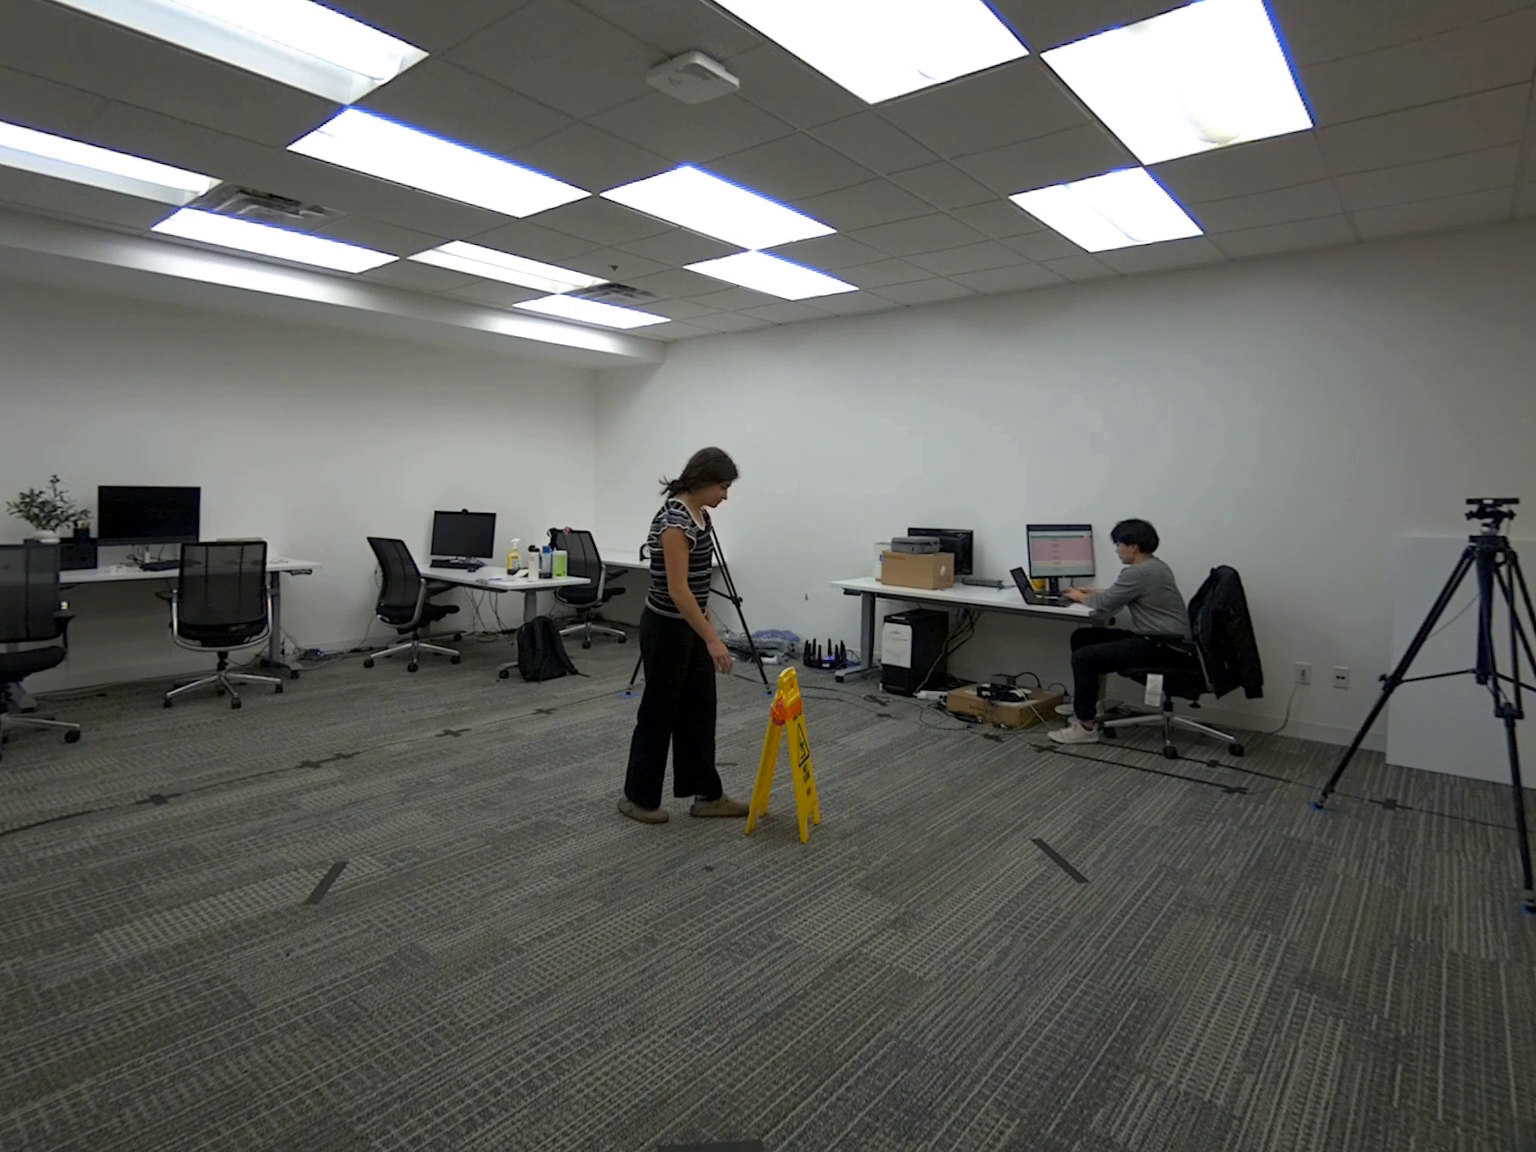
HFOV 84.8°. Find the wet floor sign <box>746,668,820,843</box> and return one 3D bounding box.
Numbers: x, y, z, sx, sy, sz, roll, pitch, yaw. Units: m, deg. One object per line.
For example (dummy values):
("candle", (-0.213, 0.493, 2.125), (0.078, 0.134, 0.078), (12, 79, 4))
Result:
("wet floor sign", (0.066, 0.711, 3.497), (0.295, 0.643, 0.278), (3, 4, 16))
